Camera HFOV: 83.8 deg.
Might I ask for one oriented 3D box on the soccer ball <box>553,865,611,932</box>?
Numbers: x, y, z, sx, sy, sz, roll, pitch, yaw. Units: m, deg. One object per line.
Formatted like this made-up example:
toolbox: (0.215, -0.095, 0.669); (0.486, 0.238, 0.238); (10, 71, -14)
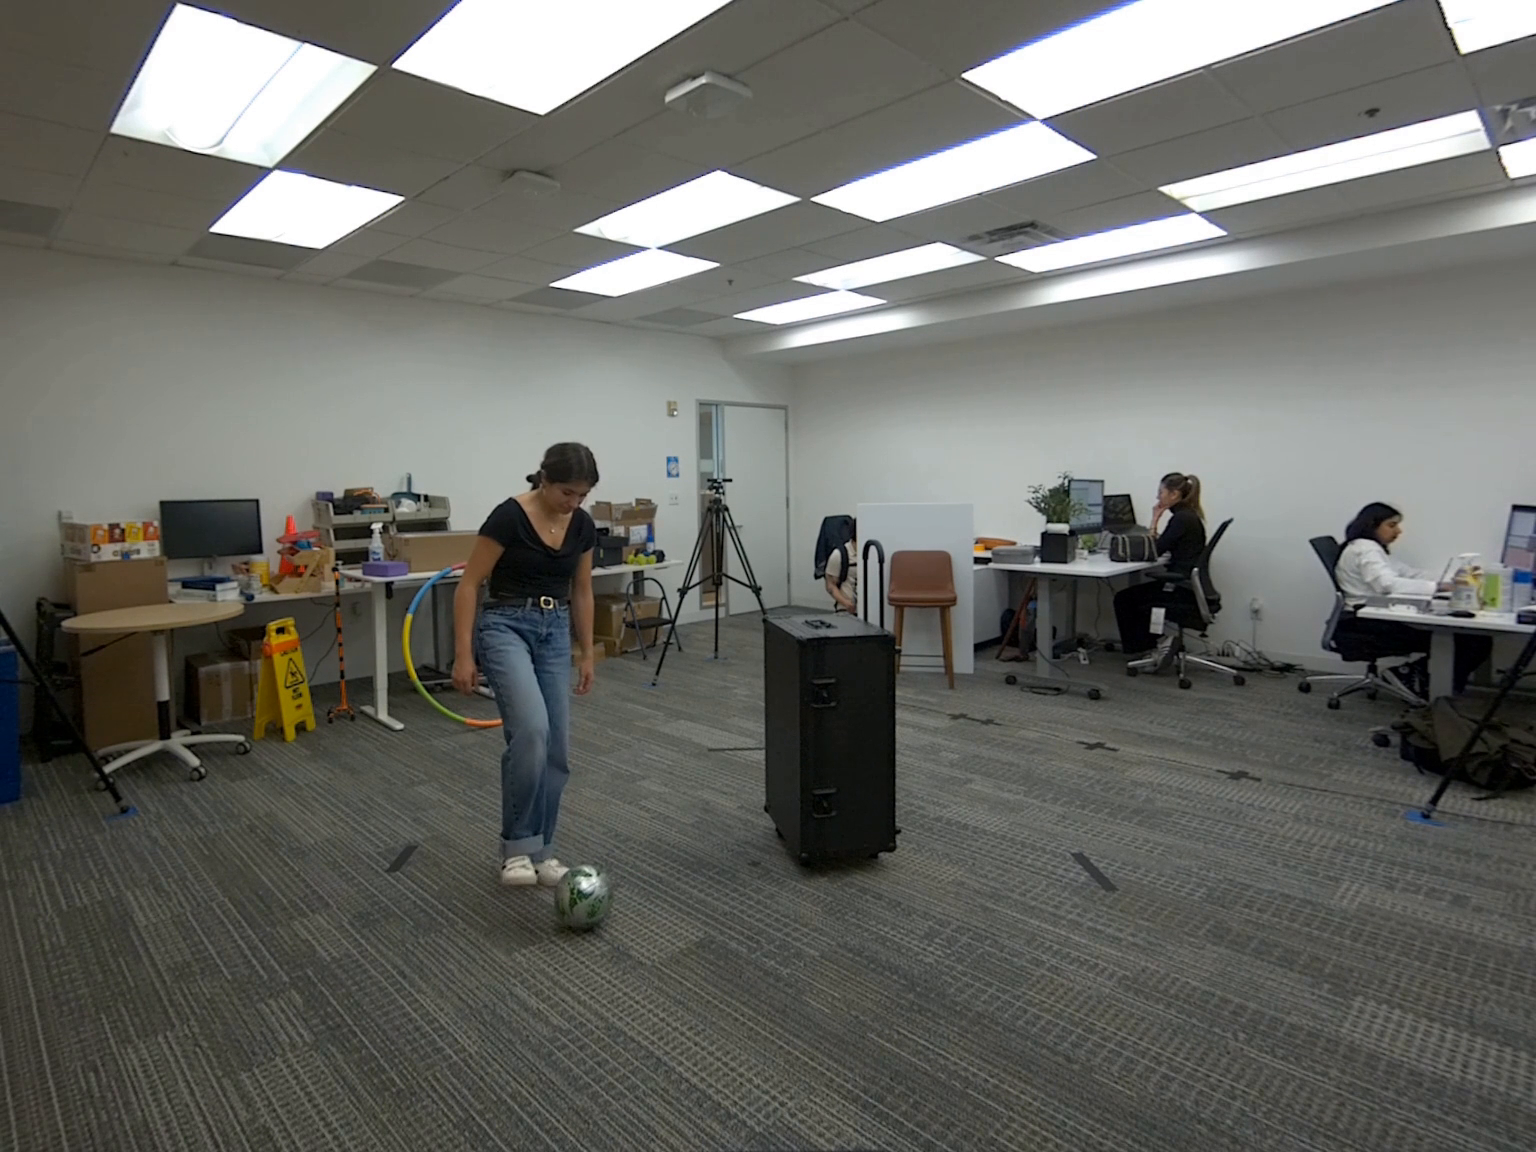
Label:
soccer ball: (-0.580, 1.005, 2.683); (0.187, 0.187, 0.188); (-1, 5, -2)
